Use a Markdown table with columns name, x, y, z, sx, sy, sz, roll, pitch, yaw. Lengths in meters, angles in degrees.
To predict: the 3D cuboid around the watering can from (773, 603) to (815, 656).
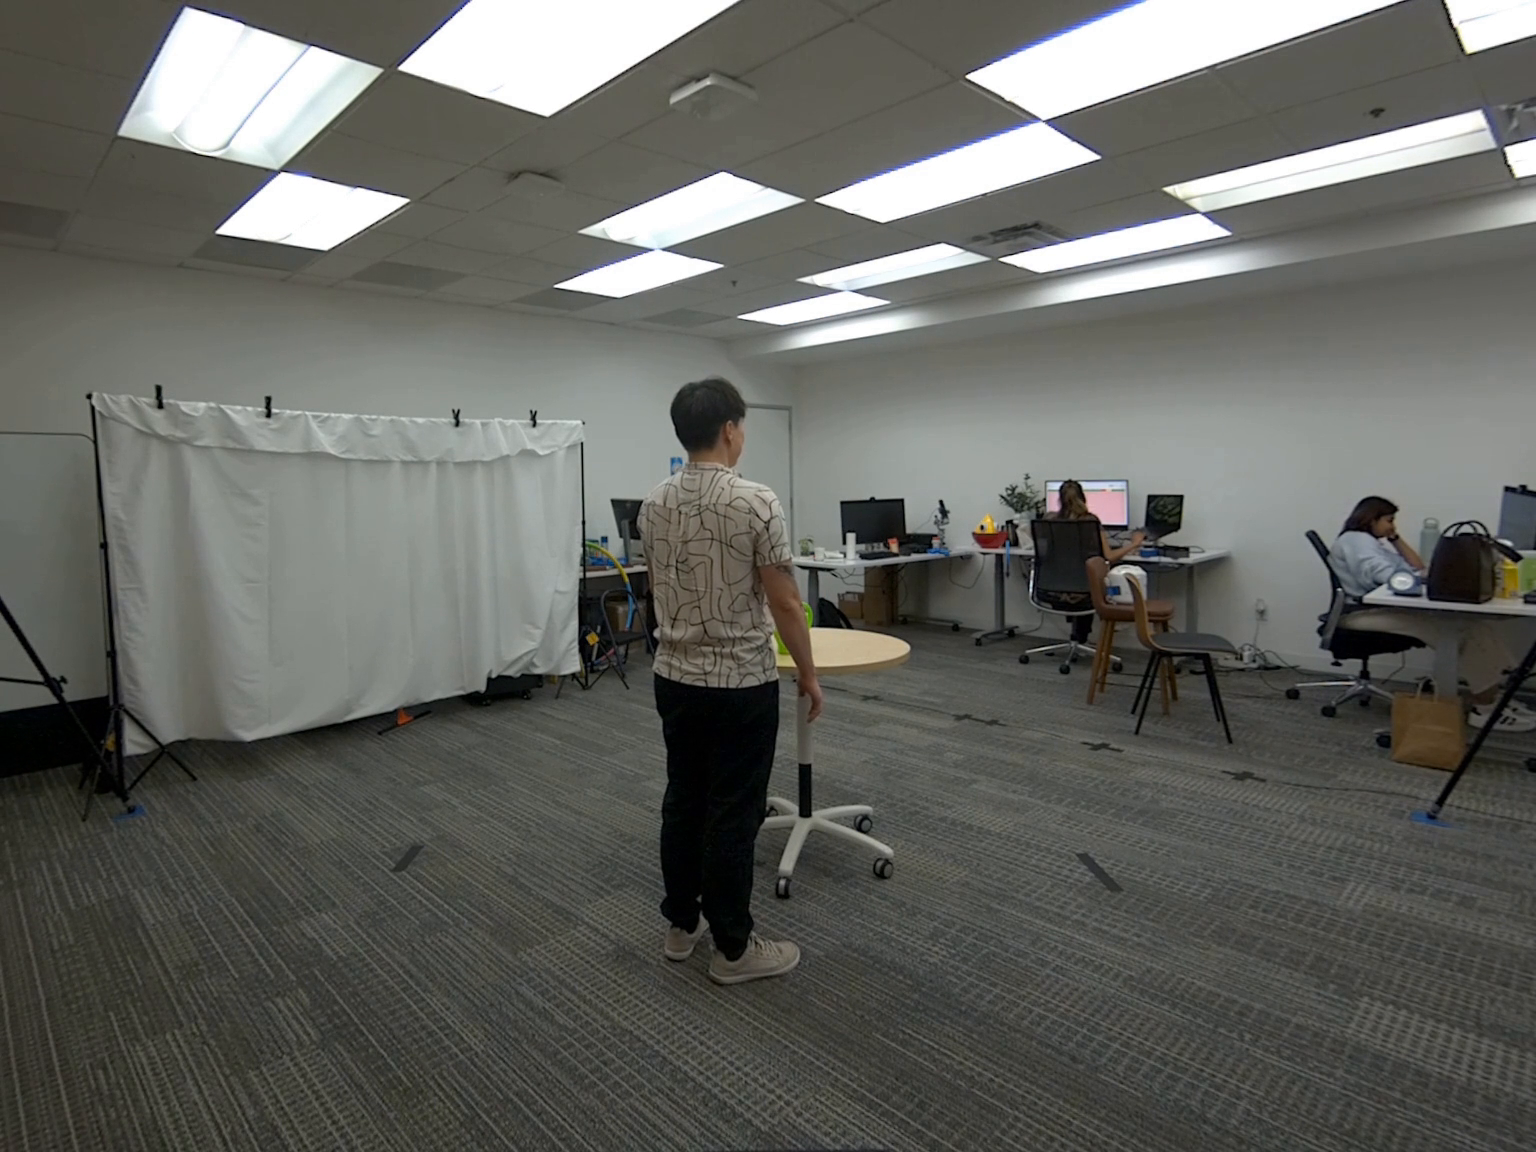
| name | x | y | z | sx | sy | sz | roll | pitch | yaw |
| --- | --- | --- | --- | --- | --- | --- | --- | --- | --- |
| watering can | 0.071 | 0.182 | 3.000 | 0.271 | 0.176 | 0.101 | -2 | 4 | -32 |
